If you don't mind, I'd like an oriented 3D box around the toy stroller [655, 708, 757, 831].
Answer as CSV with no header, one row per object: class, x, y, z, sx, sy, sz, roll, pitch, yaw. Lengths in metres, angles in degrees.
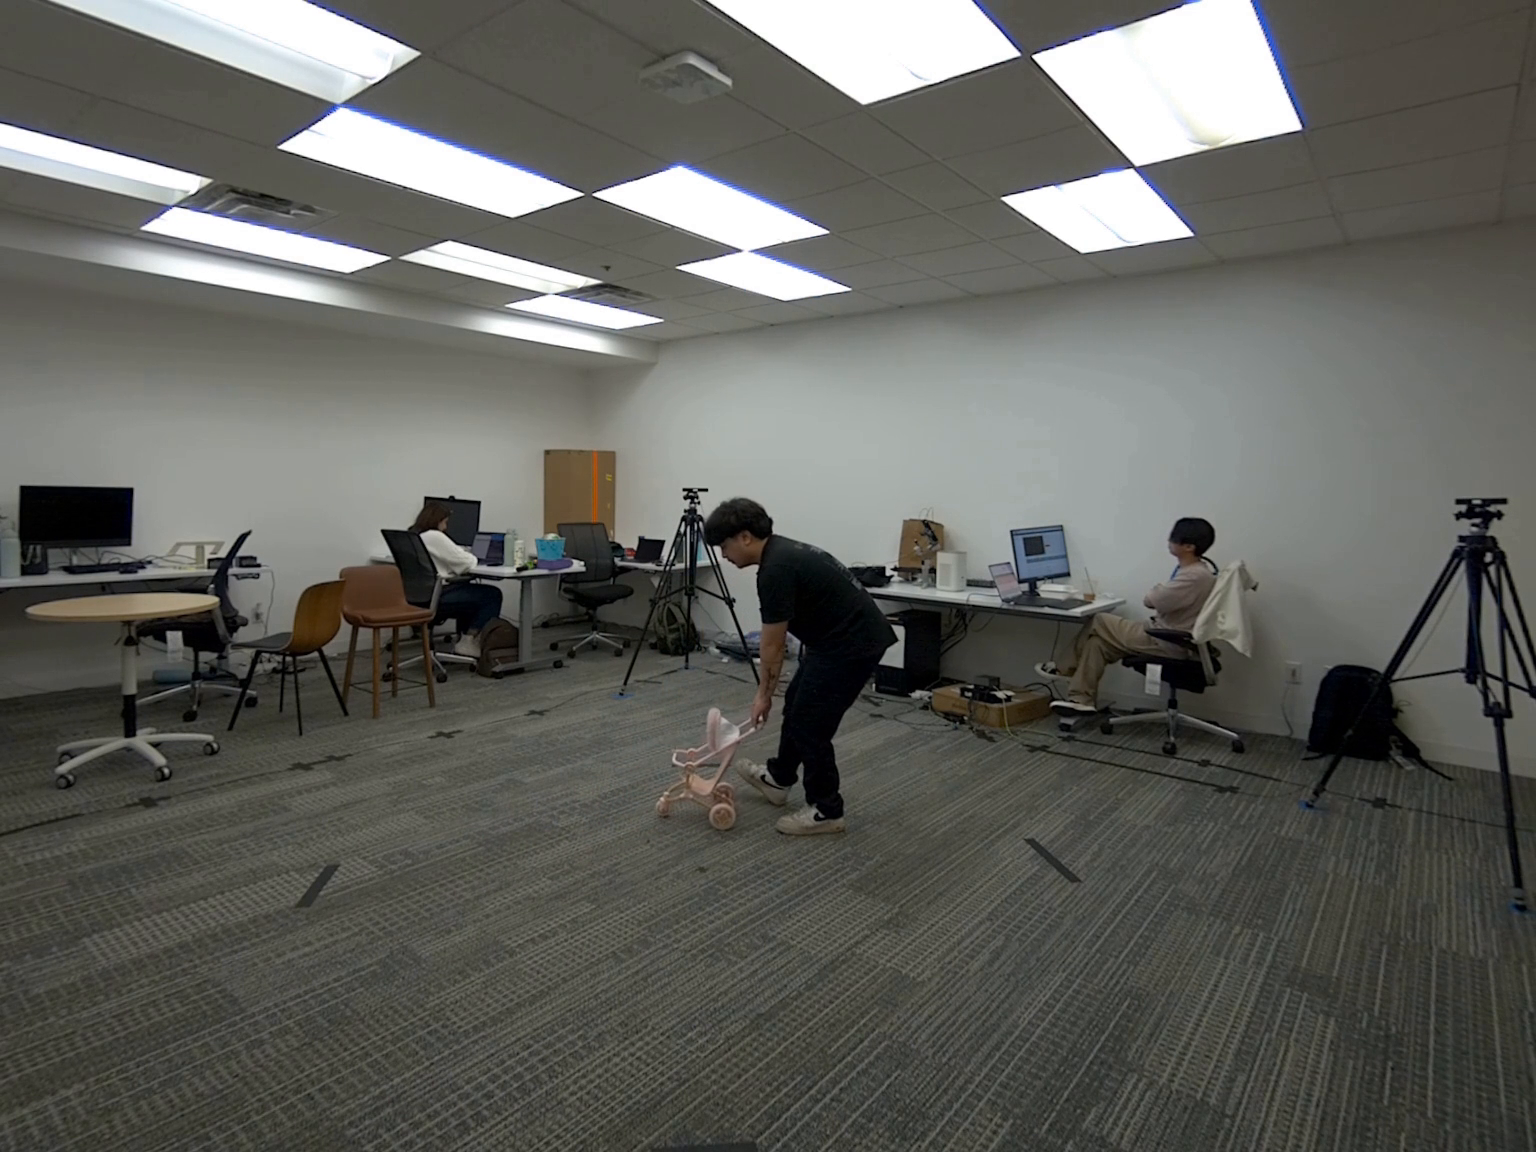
toy stroller,-0.260,0.799,3.593,0.343,0.534,0.281,17,4,2
